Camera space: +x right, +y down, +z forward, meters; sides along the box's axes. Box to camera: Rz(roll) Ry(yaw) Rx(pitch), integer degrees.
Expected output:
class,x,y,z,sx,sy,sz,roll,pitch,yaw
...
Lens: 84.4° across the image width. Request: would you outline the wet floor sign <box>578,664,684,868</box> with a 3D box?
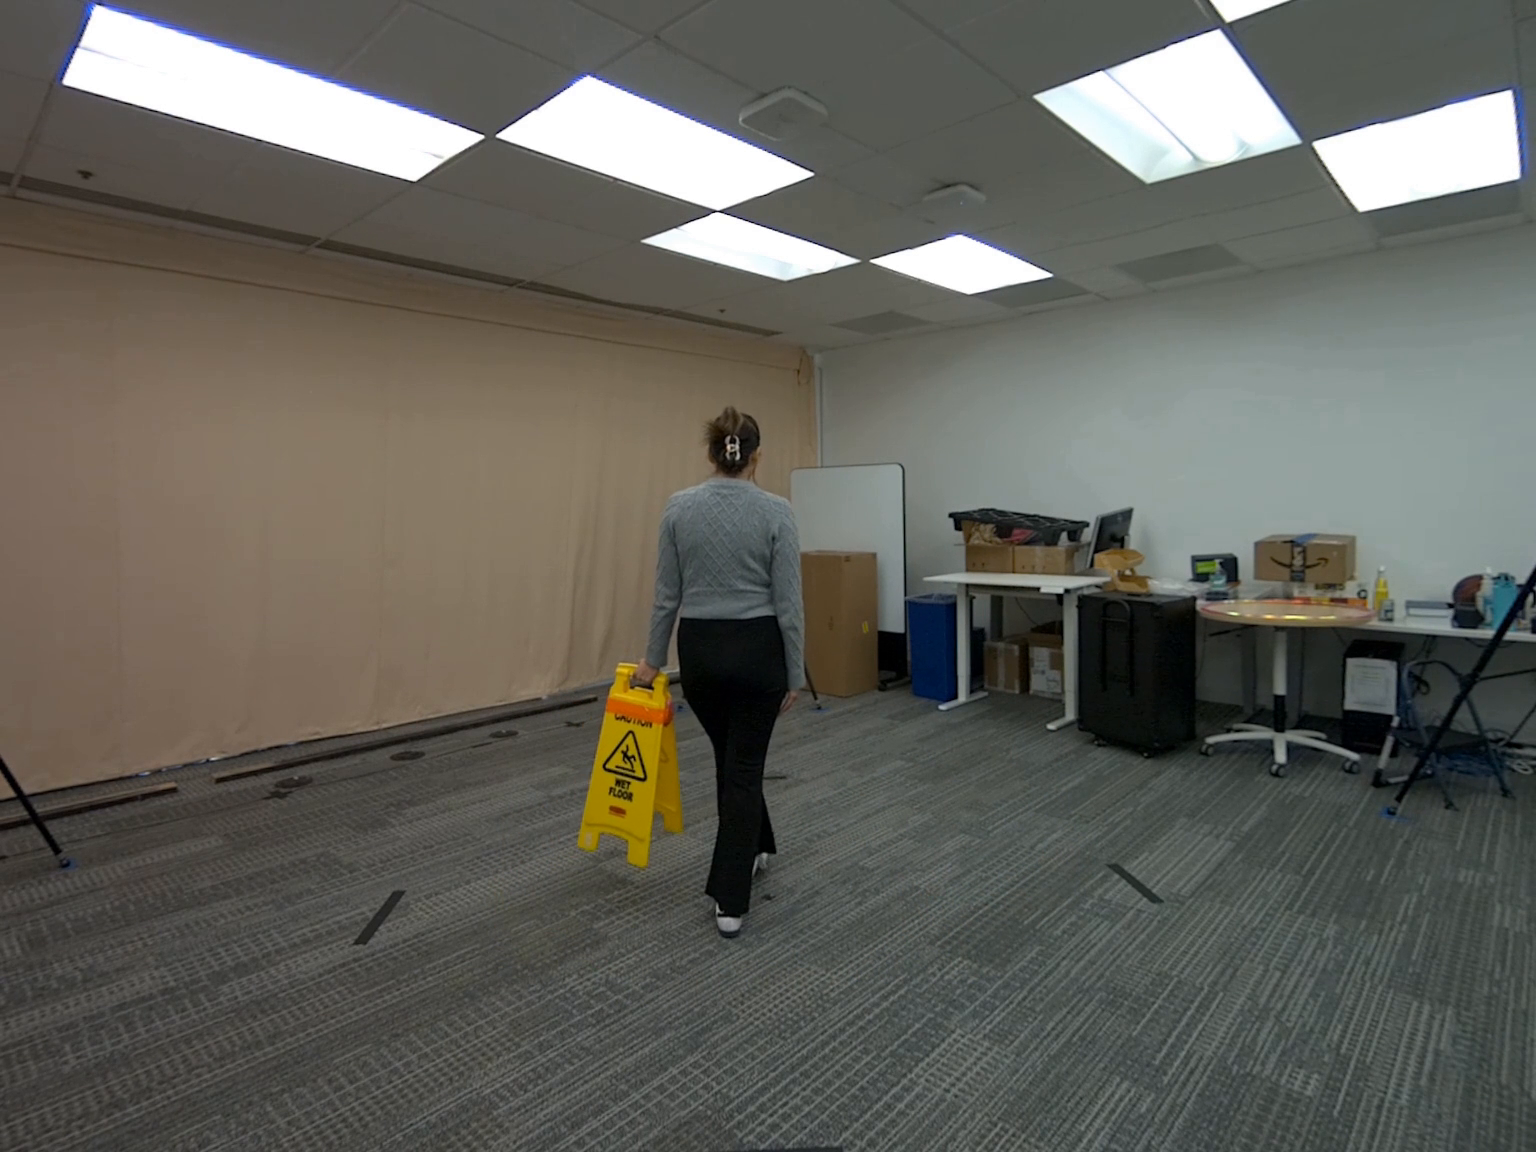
class,x,y,z,sx,sy,sz,roll,pitch,yaw
wet floor sign,-0.467,0.640,3.002,0.289,0.643,0.284,9,9,21
